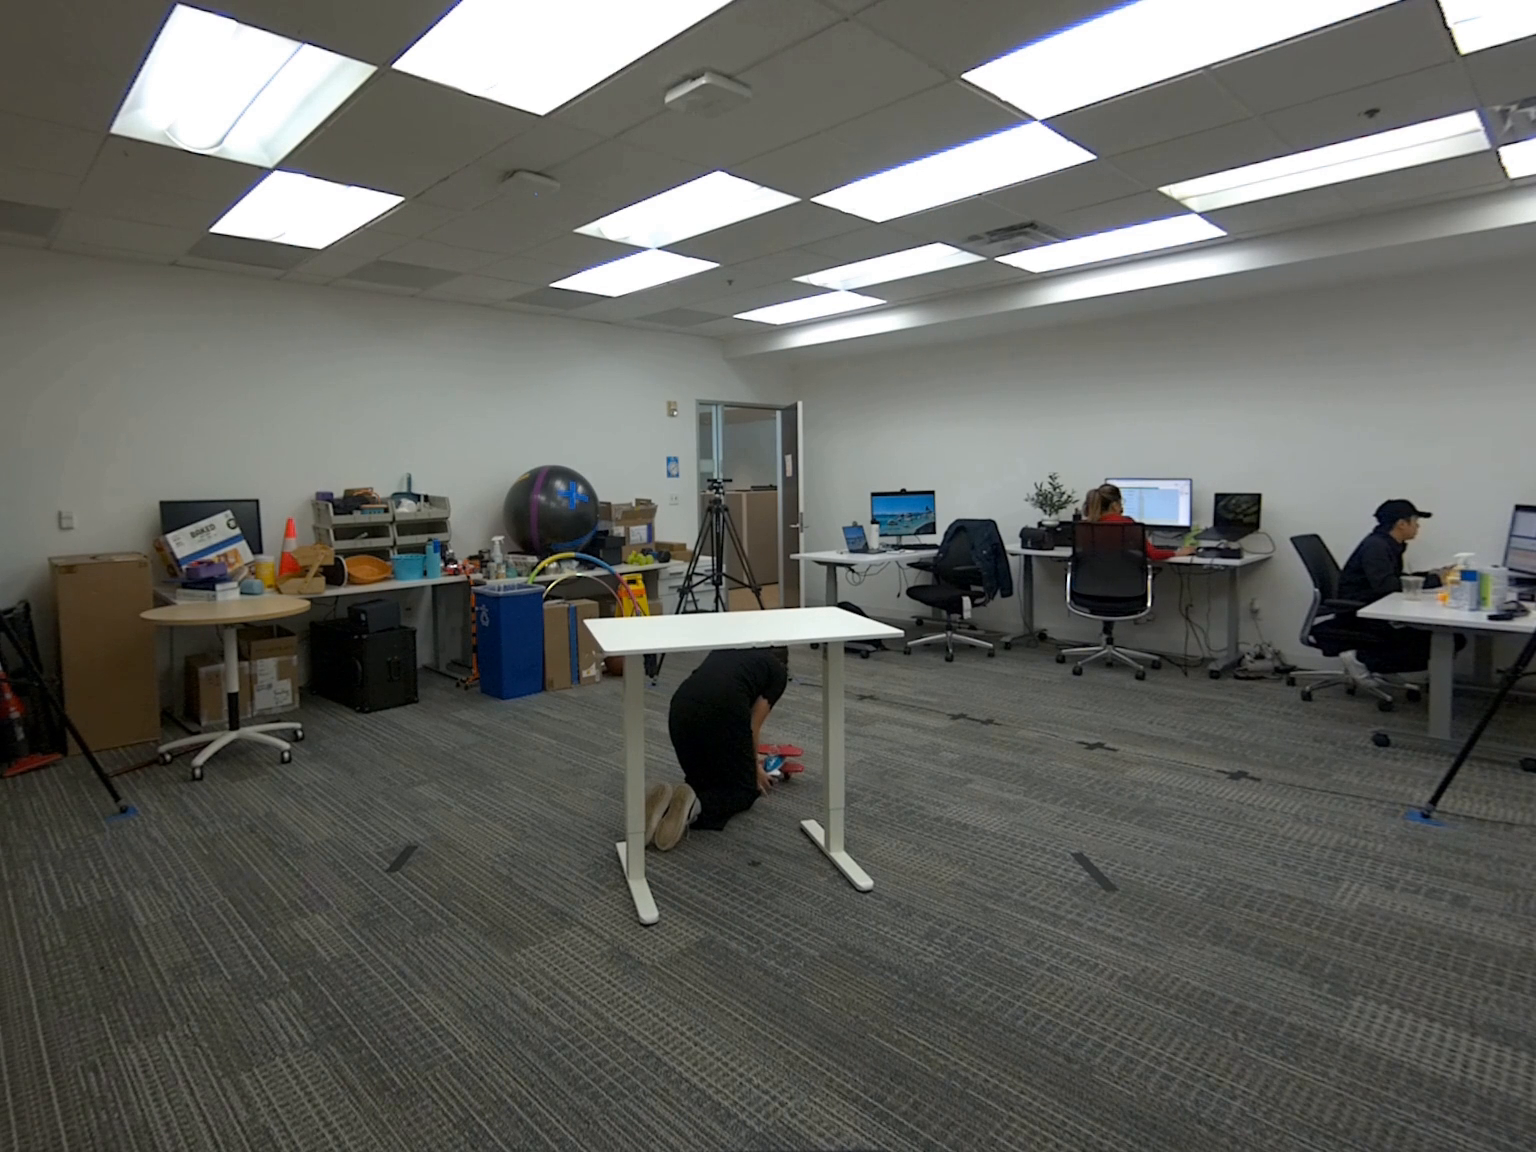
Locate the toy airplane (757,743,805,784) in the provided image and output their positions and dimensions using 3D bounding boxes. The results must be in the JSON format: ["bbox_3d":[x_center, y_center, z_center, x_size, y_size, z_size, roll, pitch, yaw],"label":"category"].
[{"bbox_3d":[0.046,0.868,3.924,0.249,0.157,0.260,2,-4,-10],"label":"toy airplane"}]
